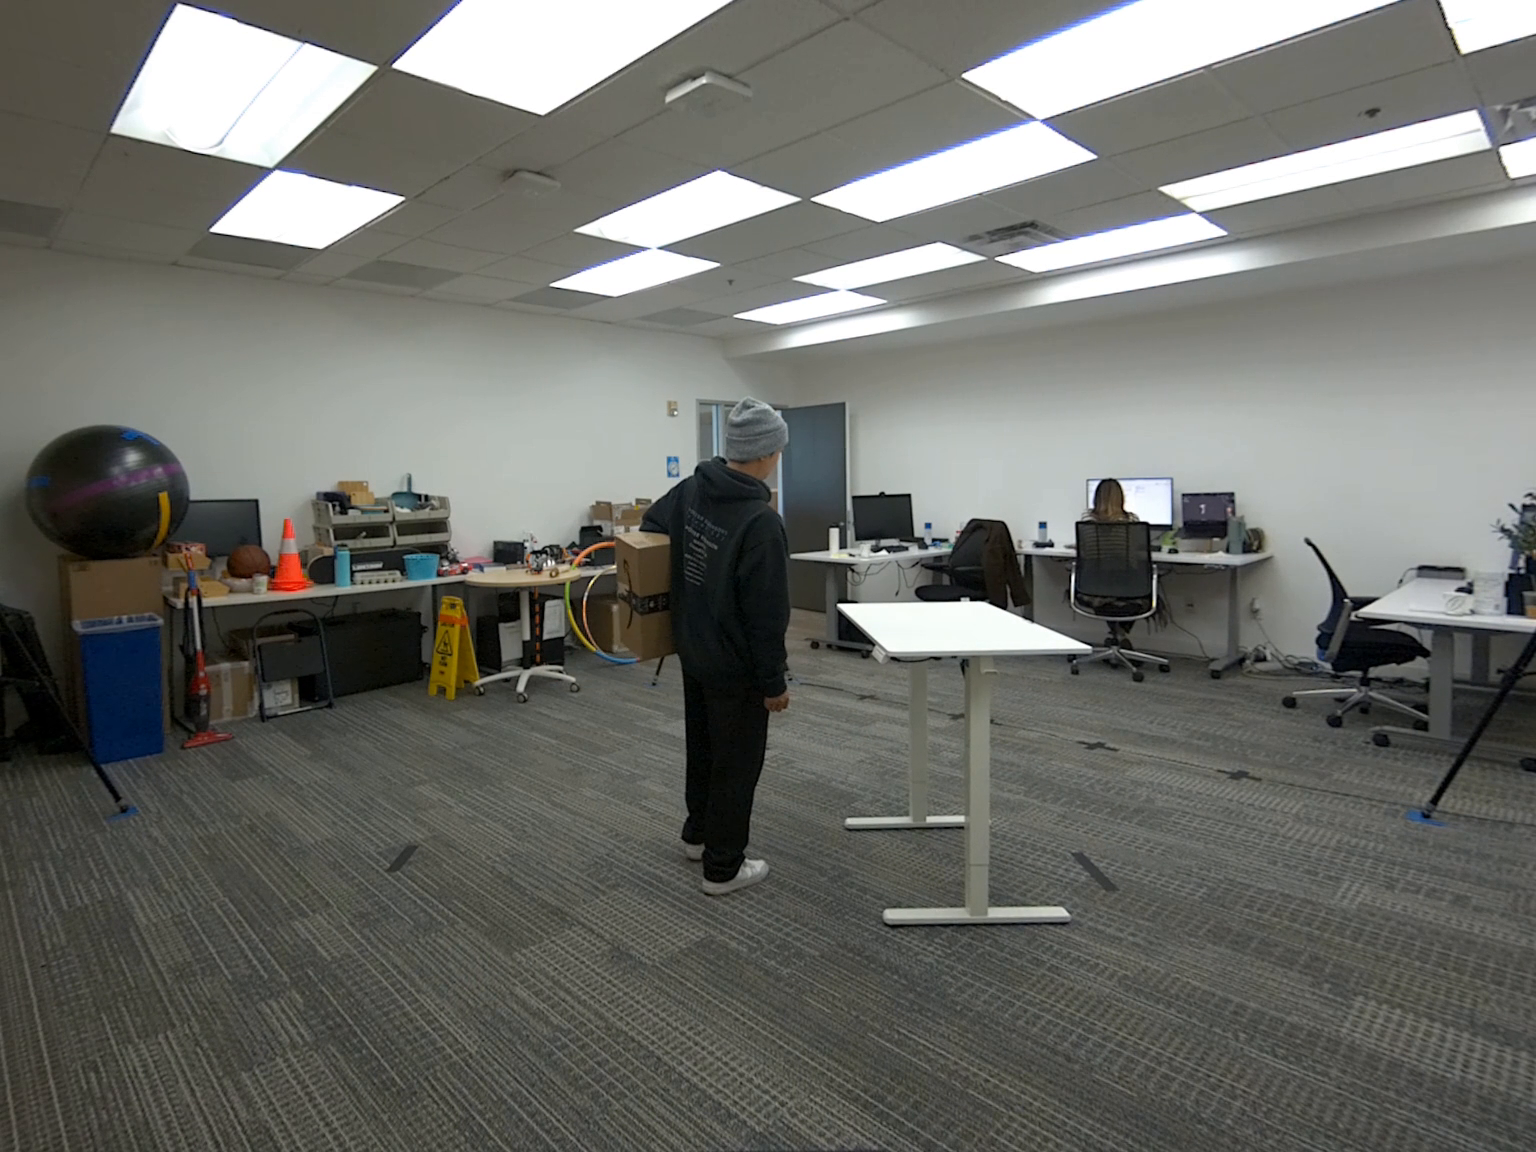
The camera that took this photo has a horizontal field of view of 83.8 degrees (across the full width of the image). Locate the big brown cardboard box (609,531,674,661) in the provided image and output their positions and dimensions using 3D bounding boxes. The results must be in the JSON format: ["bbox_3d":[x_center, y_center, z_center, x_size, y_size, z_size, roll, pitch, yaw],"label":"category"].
[{"bbox_3d":[-0.252,0.035,3.170,0.577,0.412,0.241,-9,17,-29],"label":"big brown cardboard box"}]
